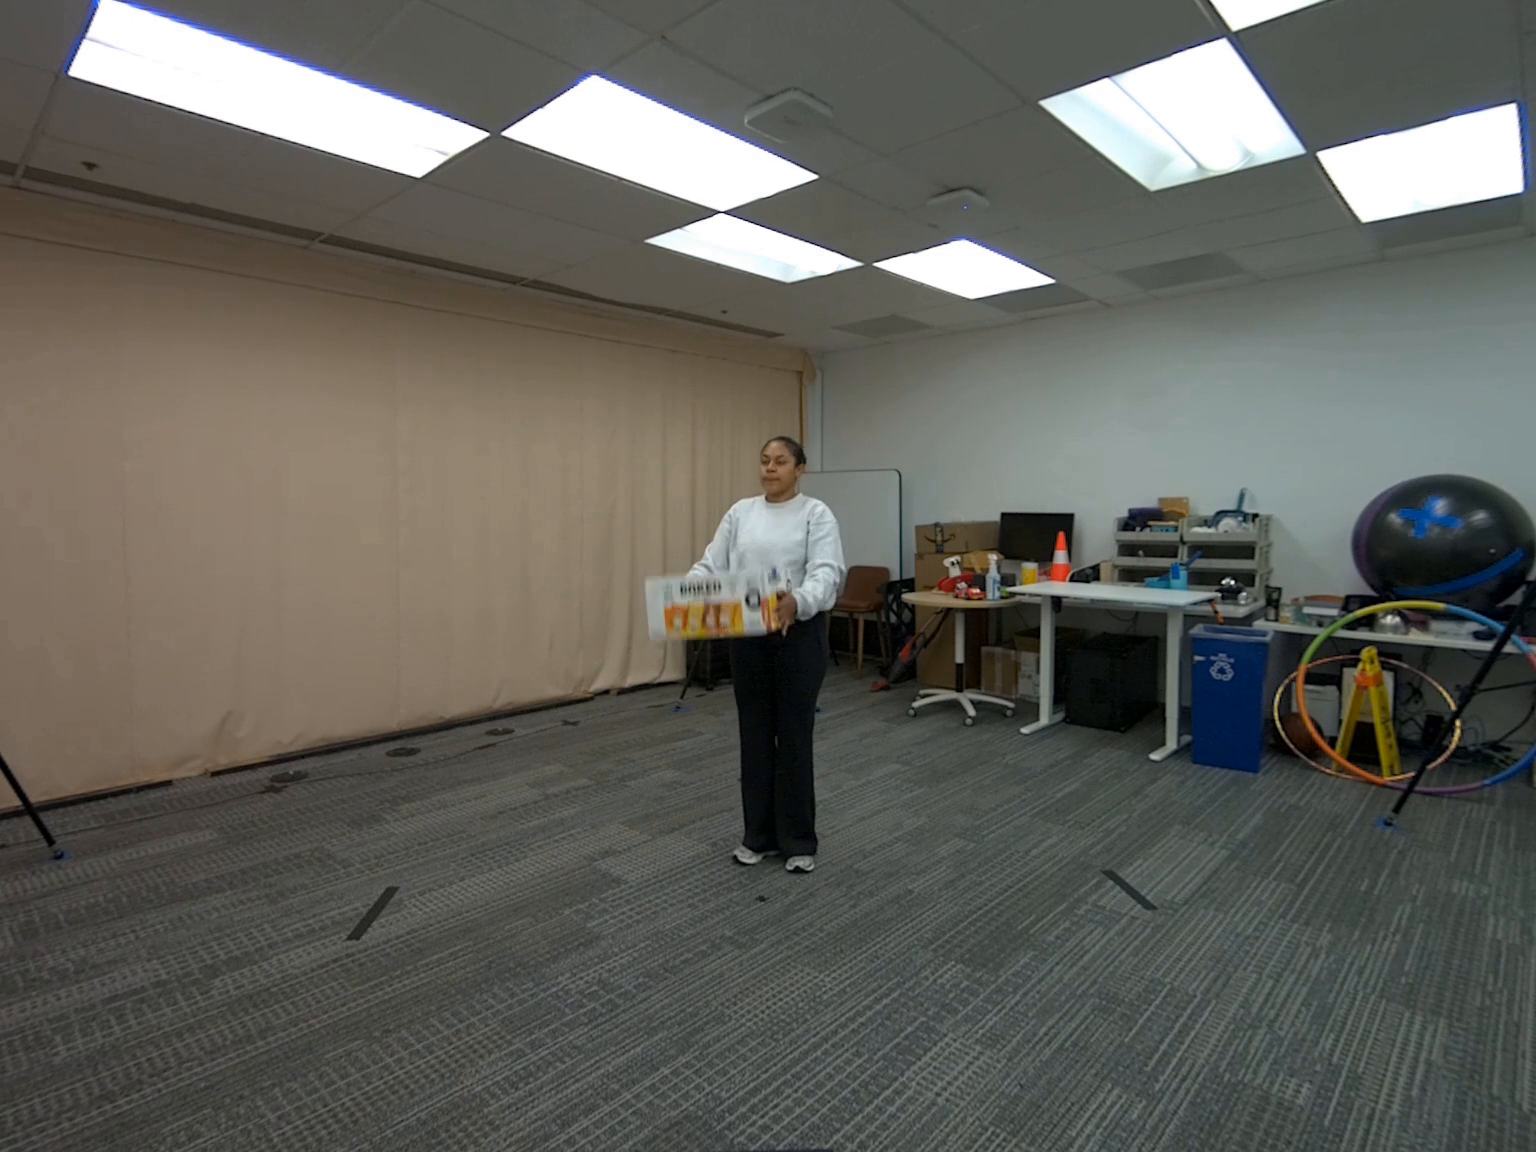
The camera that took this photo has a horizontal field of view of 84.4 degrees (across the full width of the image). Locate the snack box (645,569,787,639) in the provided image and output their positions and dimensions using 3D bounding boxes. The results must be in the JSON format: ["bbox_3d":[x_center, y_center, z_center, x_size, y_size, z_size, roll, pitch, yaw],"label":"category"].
[{"bbox_3d":[-0.152,0.053,2.906,0.413,0.206,0.333,-6,-1,20],"label":"snack box"}]
